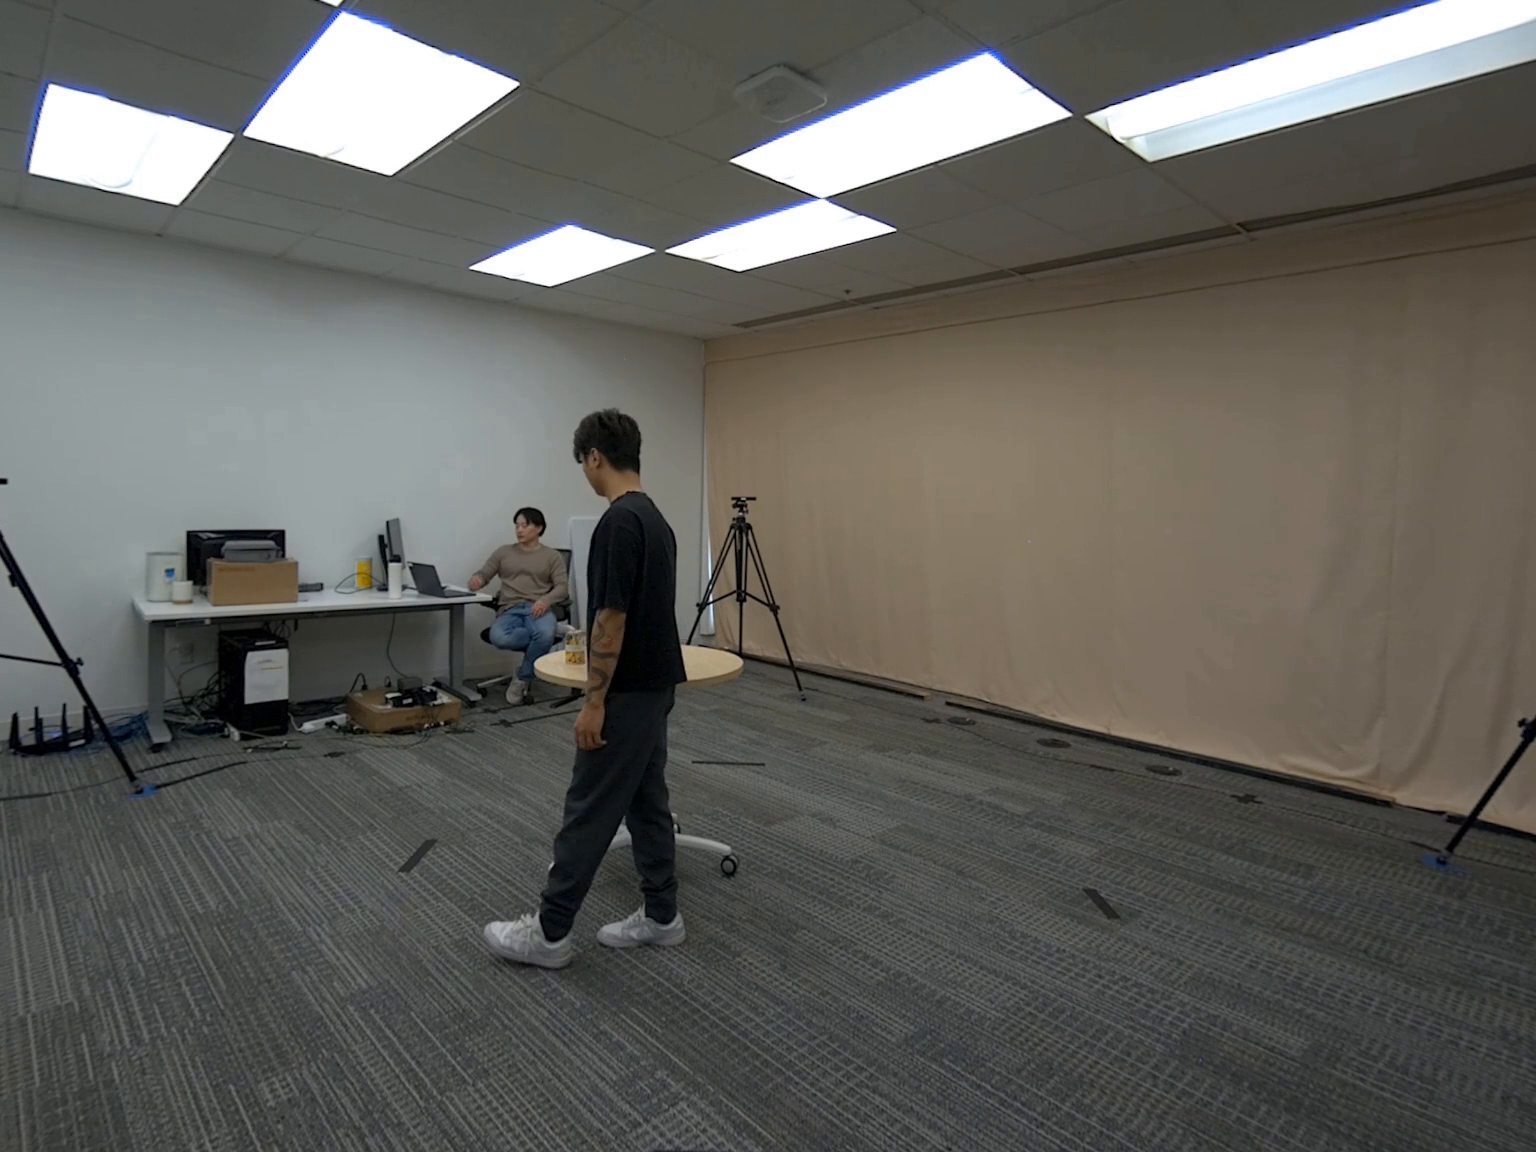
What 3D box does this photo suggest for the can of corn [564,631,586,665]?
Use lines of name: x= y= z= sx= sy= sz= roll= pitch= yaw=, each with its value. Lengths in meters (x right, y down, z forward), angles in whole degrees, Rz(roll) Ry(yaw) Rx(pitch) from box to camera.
can of corn: x=-0.709 y=0.262 z=3.068 sx=0.074 sy=0.111 sz=0.074 roll=2 pitch=3 yaw=-1
